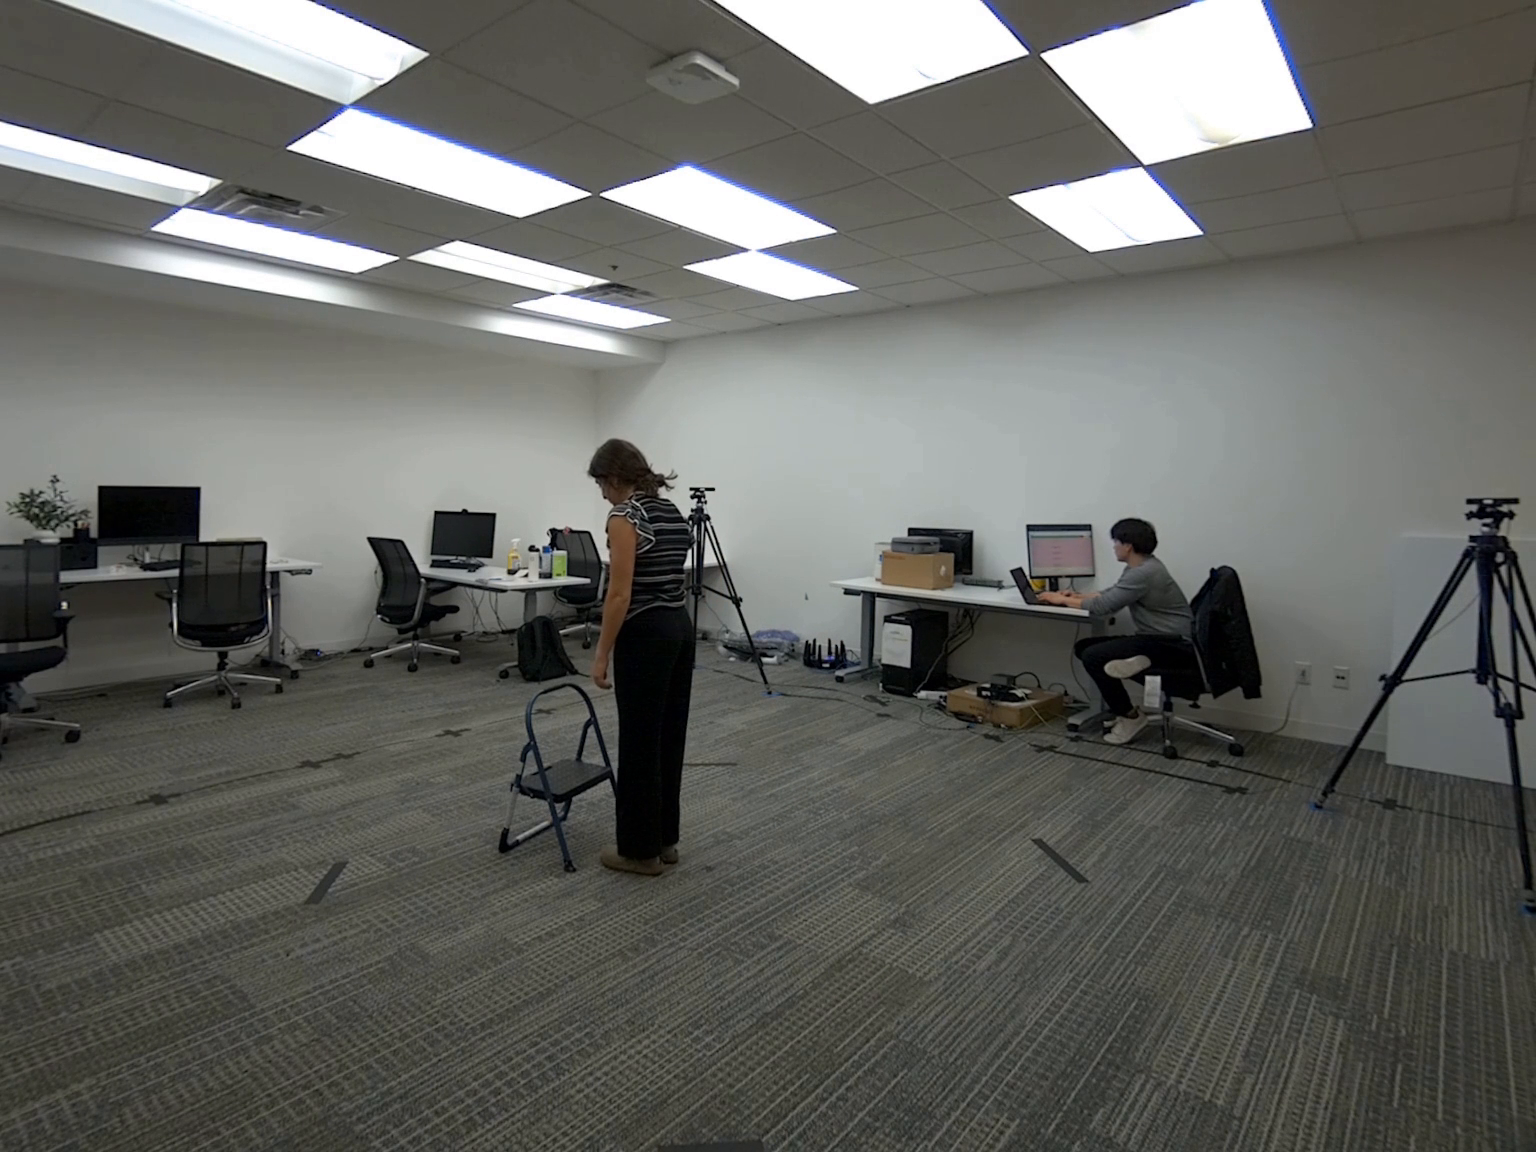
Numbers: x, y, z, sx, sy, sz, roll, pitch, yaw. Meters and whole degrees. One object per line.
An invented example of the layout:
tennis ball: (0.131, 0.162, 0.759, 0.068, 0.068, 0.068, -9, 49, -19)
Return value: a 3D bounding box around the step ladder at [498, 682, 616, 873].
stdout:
step ladder: (-0.791, 0.733, 3.311, 0.358, 0.604, 0.421, 2, 4, 24)
